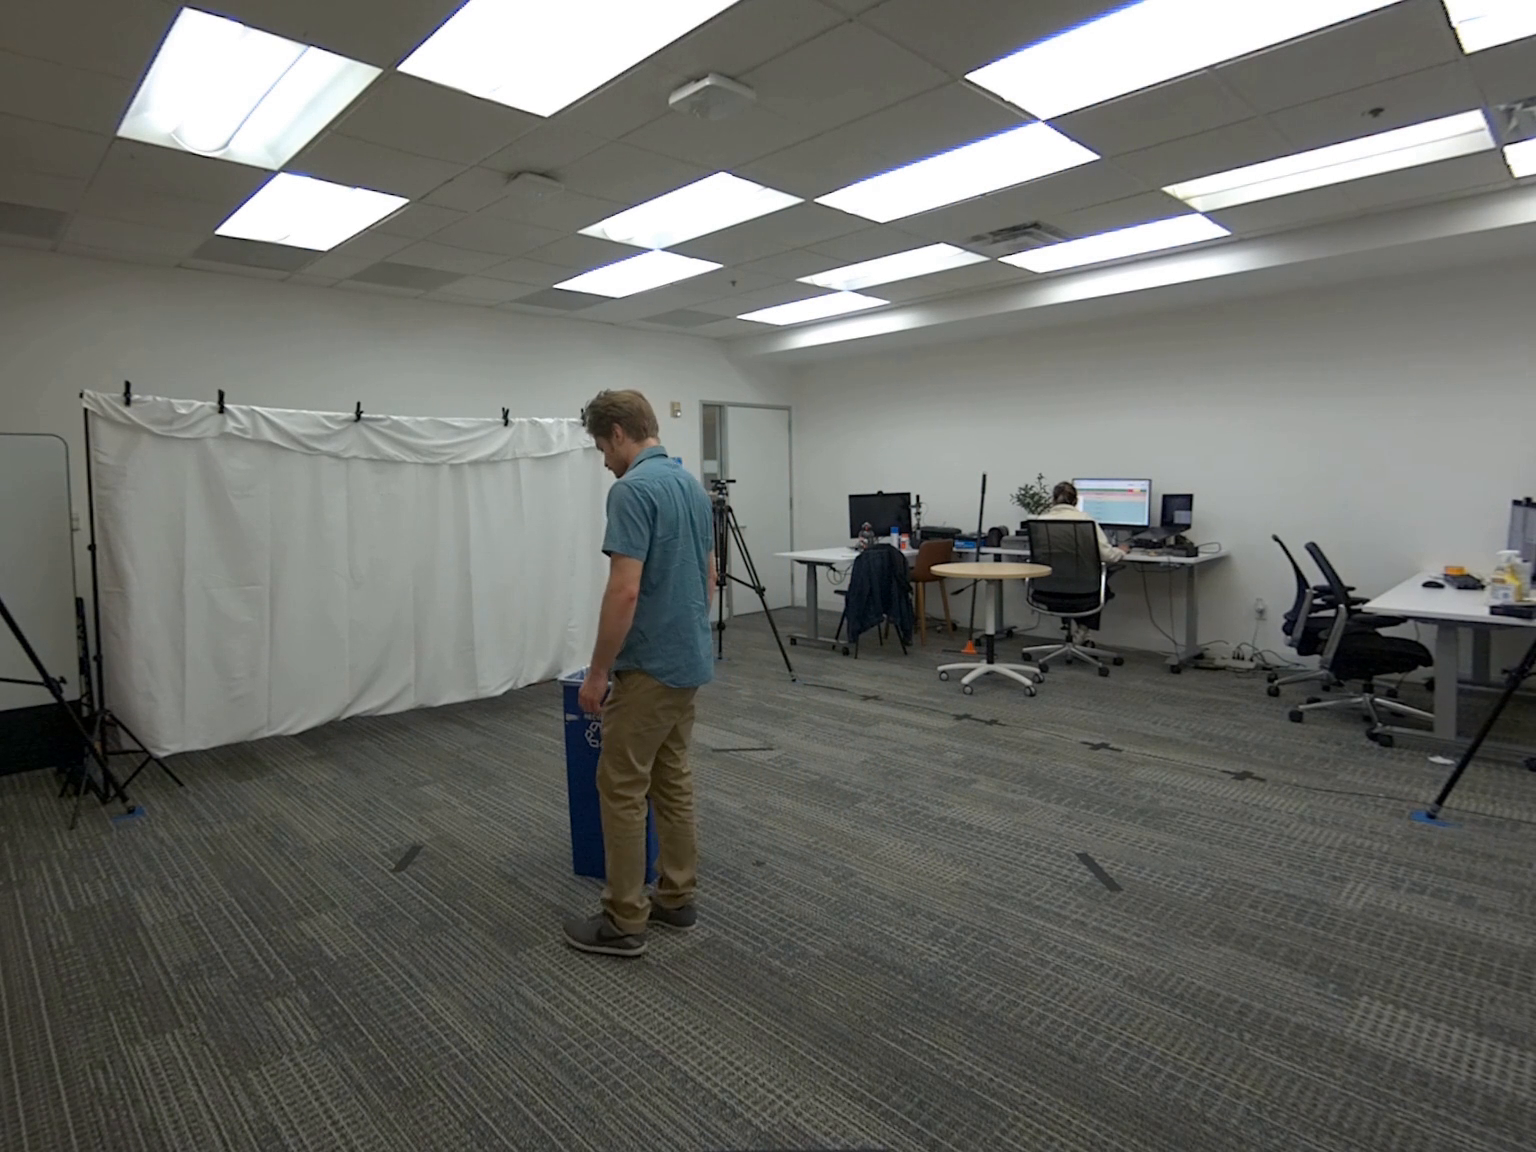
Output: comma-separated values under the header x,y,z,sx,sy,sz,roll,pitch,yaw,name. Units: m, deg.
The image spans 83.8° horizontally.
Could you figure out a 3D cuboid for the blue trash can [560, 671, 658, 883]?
x,y,z,sx,sy,sz,roll,pitch,yaw,name
-0.514,0.698,3.126,0.380,0.711,0.373,0,4,16,blue trash can
